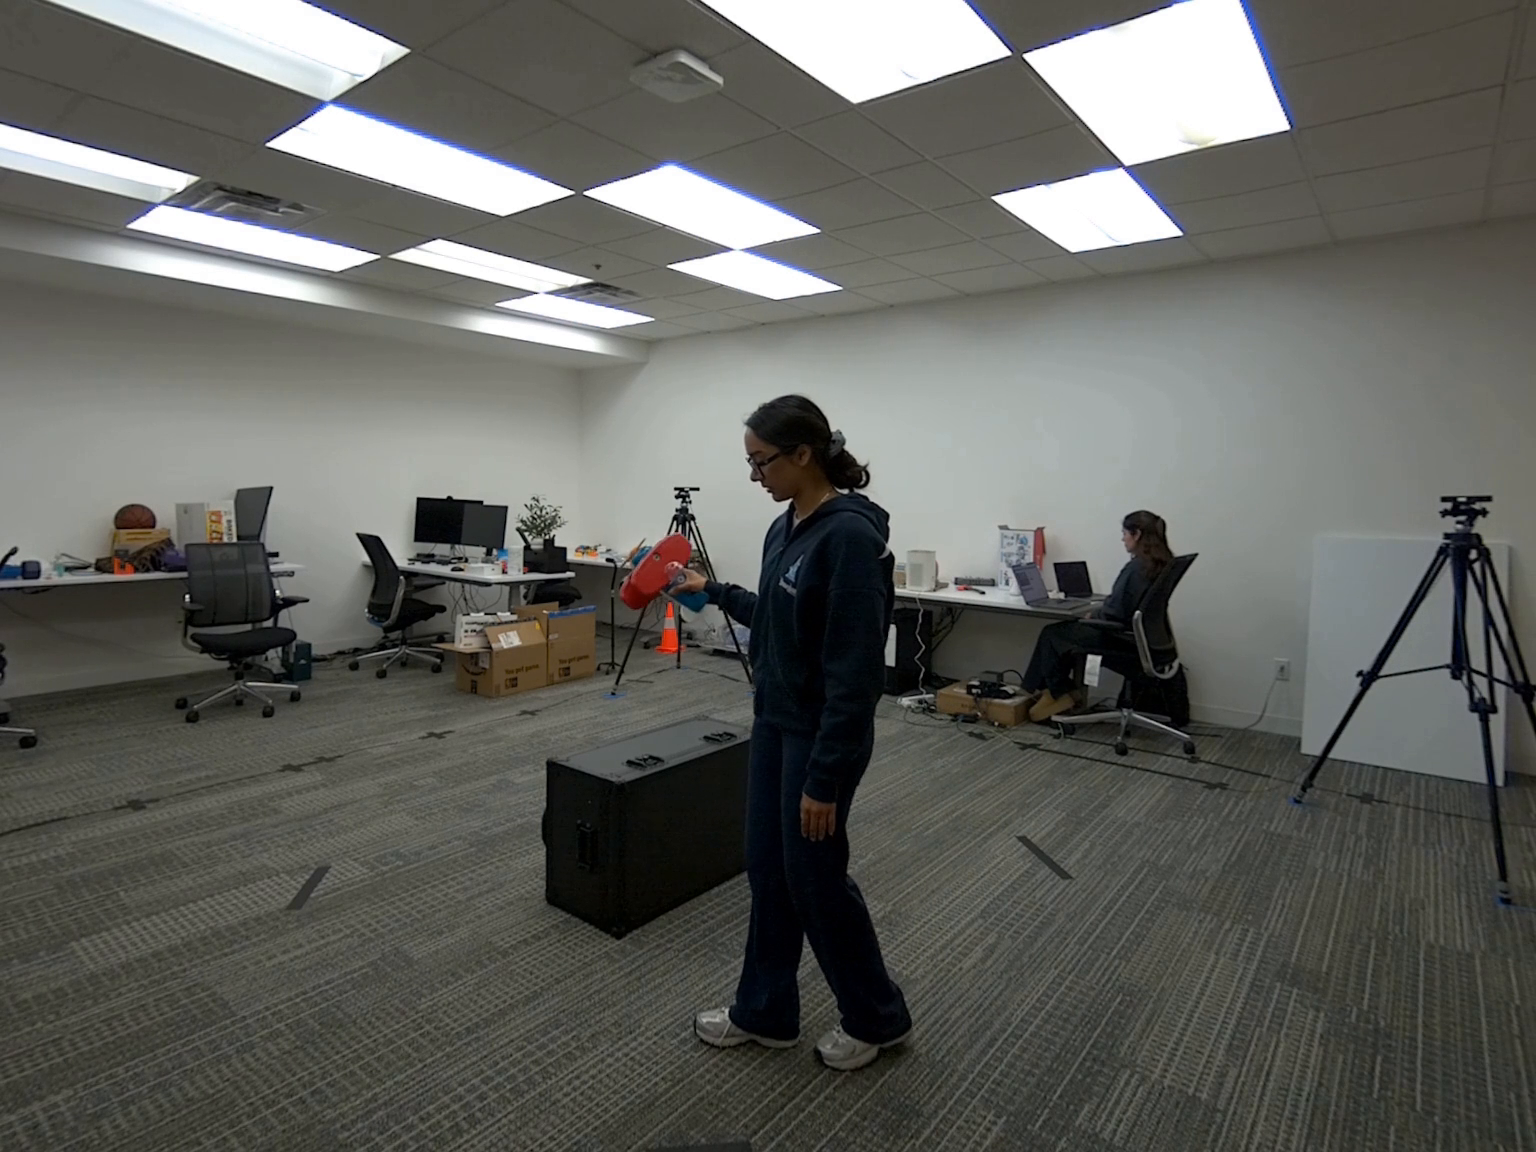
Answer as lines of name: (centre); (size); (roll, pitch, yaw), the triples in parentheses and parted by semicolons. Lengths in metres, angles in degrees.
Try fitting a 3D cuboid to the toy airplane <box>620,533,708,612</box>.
toy airplane: (-0.285, 0.007, 2.396); (0.255, 0.258, 0.154); (12, -44, -13)
